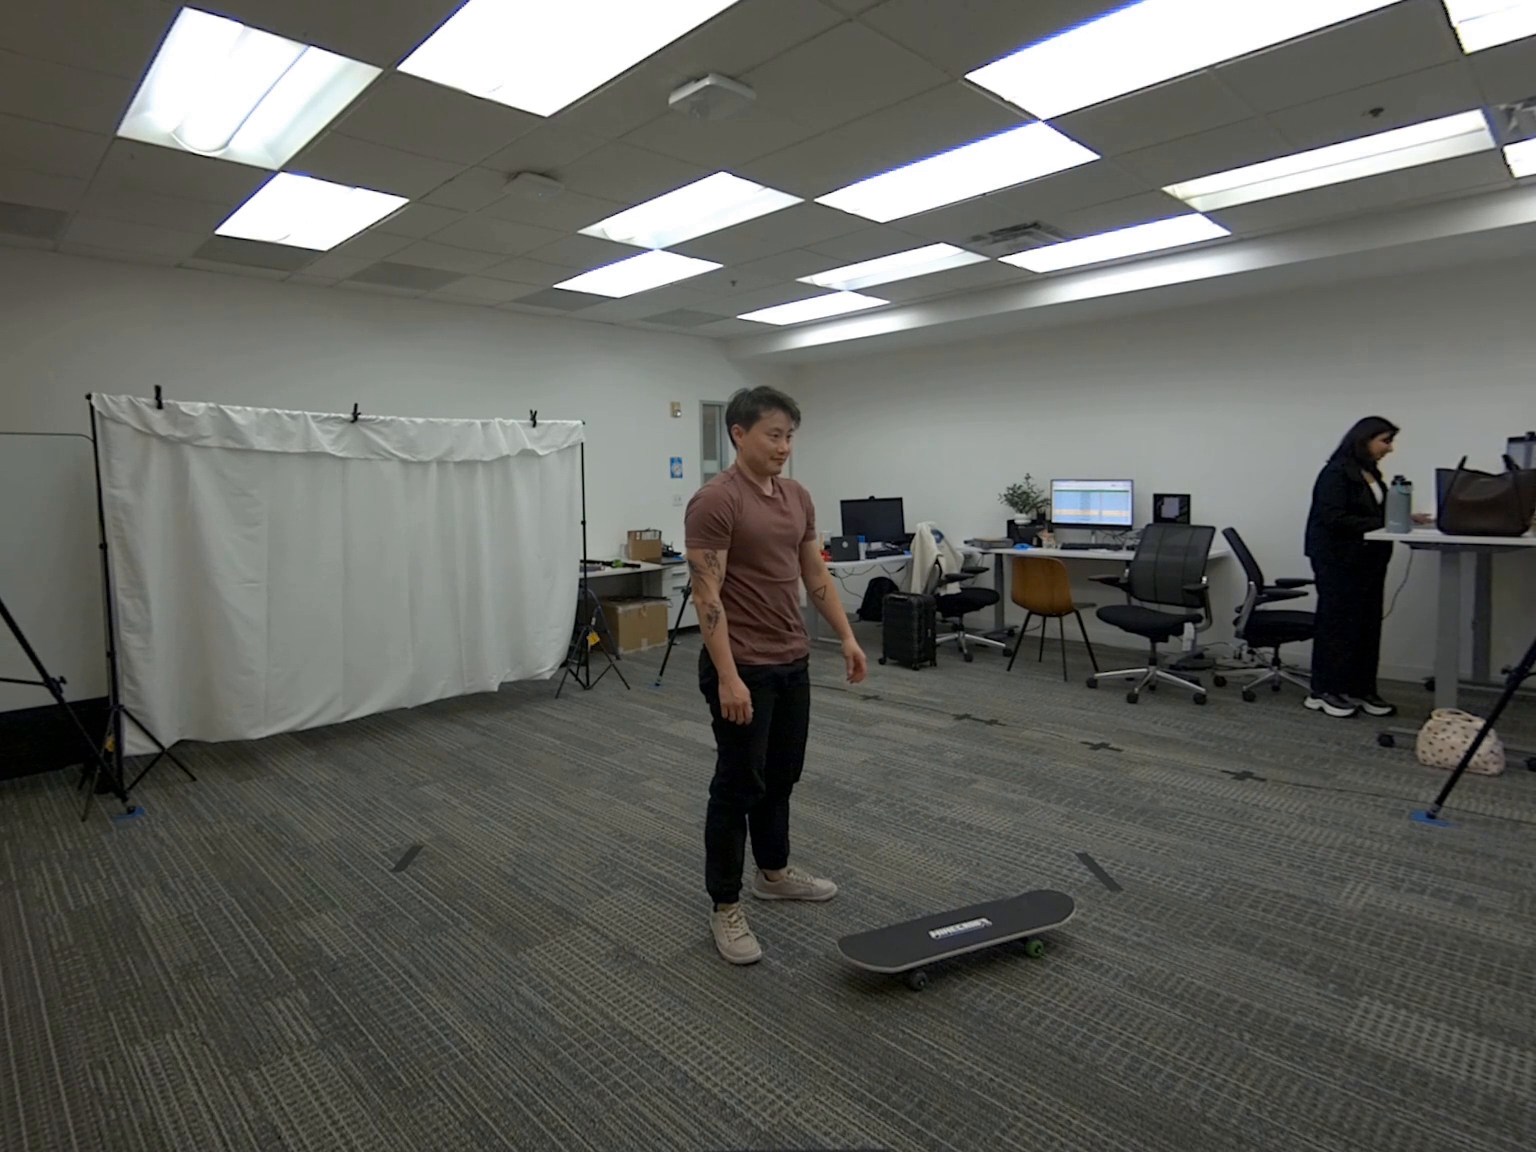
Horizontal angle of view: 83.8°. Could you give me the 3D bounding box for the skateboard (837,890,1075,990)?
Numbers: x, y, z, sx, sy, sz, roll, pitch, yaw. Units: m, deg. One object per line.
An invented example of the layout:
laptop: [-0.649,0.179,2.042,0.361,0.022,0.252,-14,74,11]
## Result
skateboard: [0.566,1.053,2.473,0.771,0.110,0.198,-4,5,-21]
